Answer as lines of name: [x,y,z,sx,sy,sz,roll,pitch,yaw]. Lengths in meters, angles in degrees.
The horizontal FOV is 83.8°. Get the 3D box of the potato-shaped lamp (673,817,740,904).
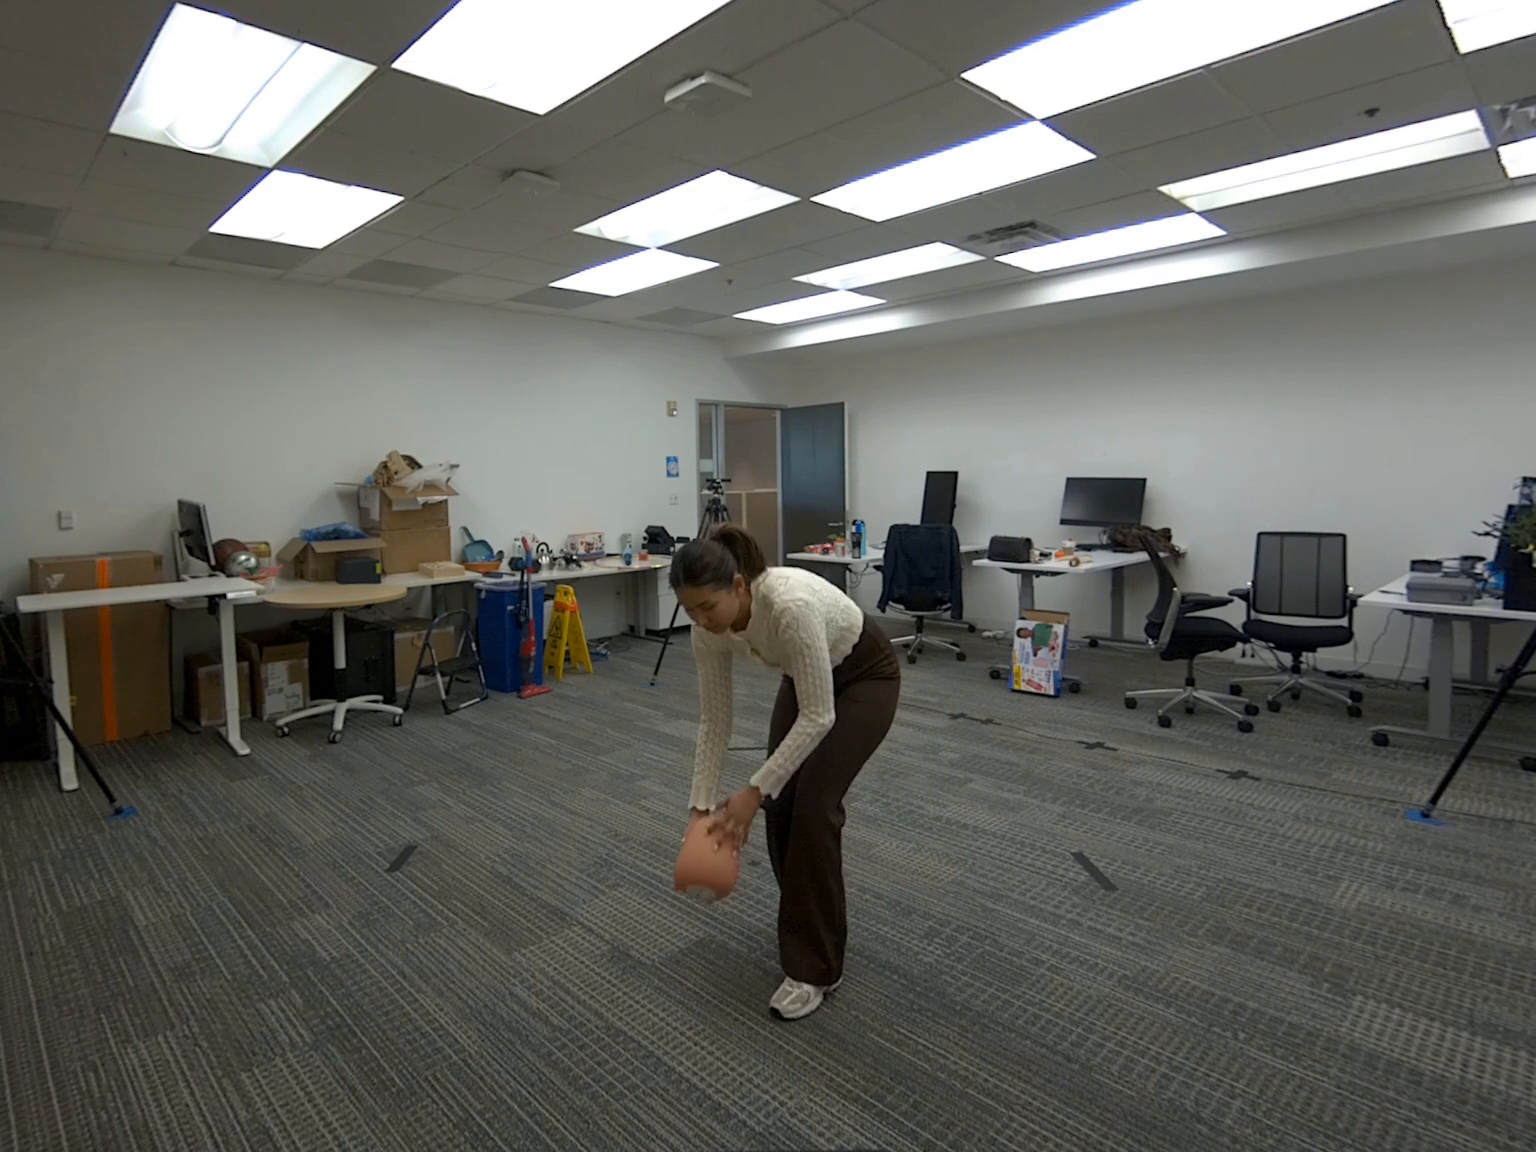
potato-shaped lamp: [-0.141,0.746,2.233,0.160,0.201,0.174,25,-29,-27]
